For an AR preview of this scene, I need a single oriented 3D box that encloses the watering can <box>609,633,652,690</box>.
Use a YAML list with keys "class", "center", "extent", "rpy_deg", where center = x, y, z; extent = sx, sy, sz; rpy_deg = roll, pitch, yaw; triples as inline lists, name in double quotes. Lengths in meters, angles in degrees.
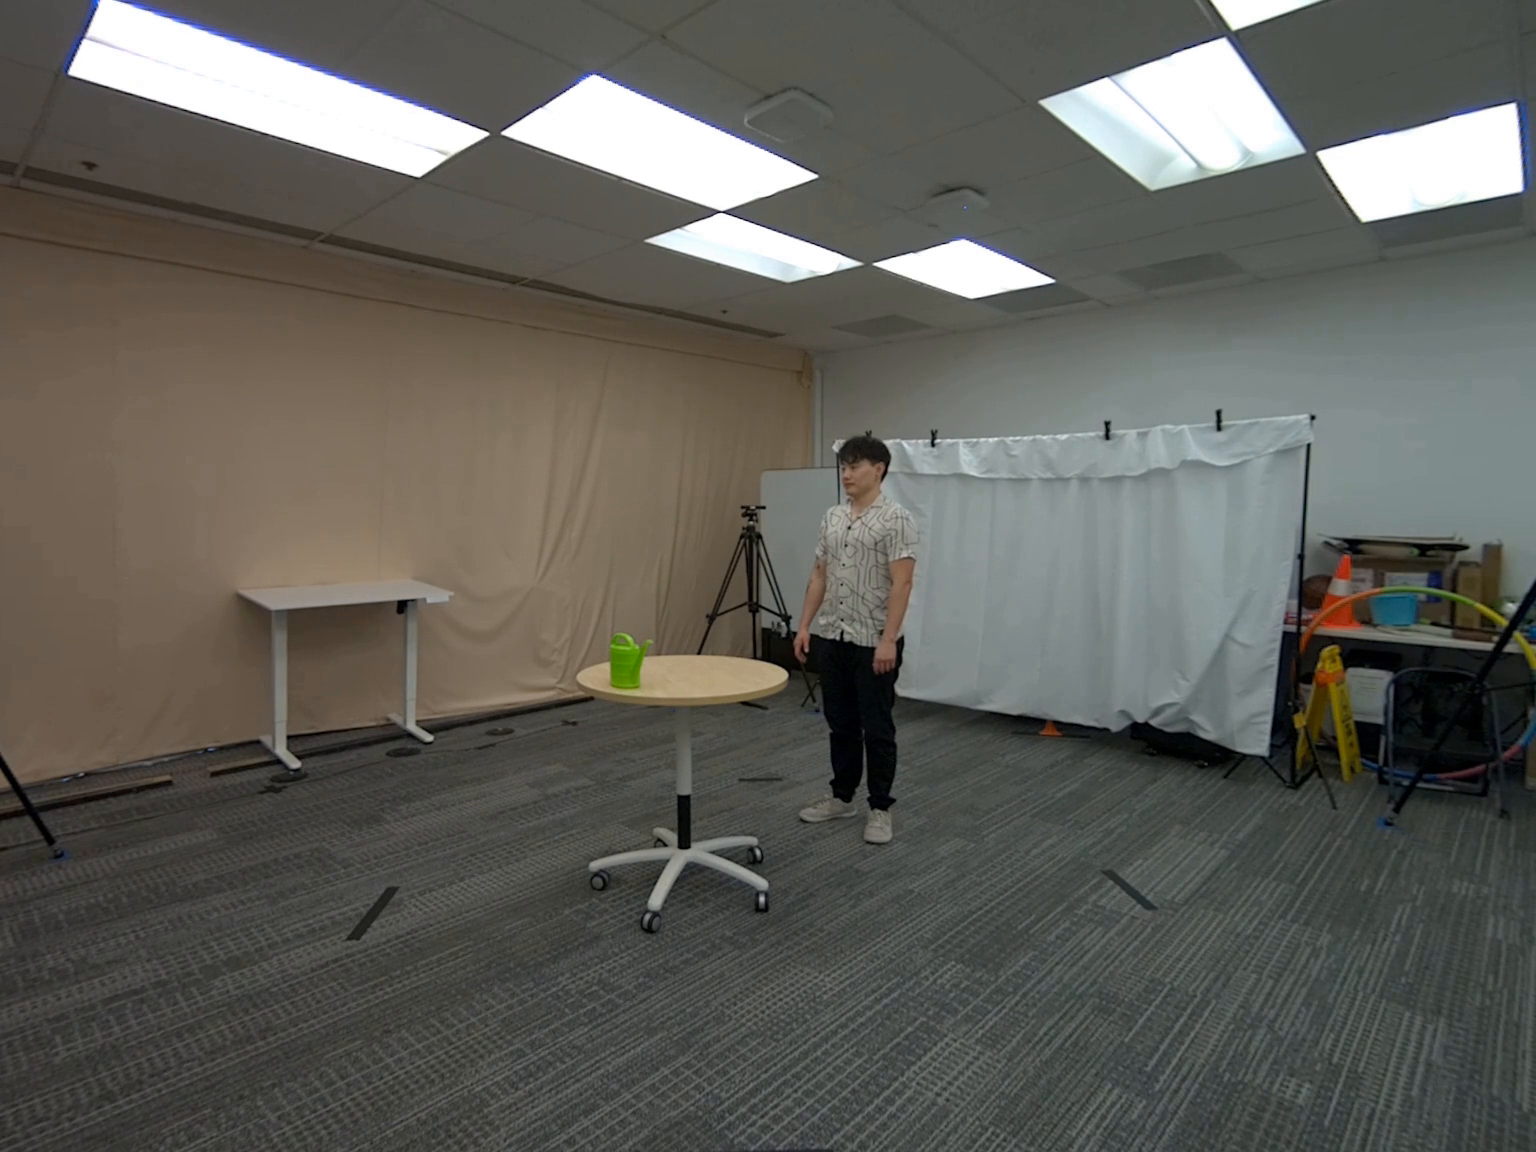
- class: "watering can"
  center: [-0.462, 0.287, 2.814]
  extent: [0.096, 0.177, 0.284]
  rpy_deg: [2, 1, -21]
